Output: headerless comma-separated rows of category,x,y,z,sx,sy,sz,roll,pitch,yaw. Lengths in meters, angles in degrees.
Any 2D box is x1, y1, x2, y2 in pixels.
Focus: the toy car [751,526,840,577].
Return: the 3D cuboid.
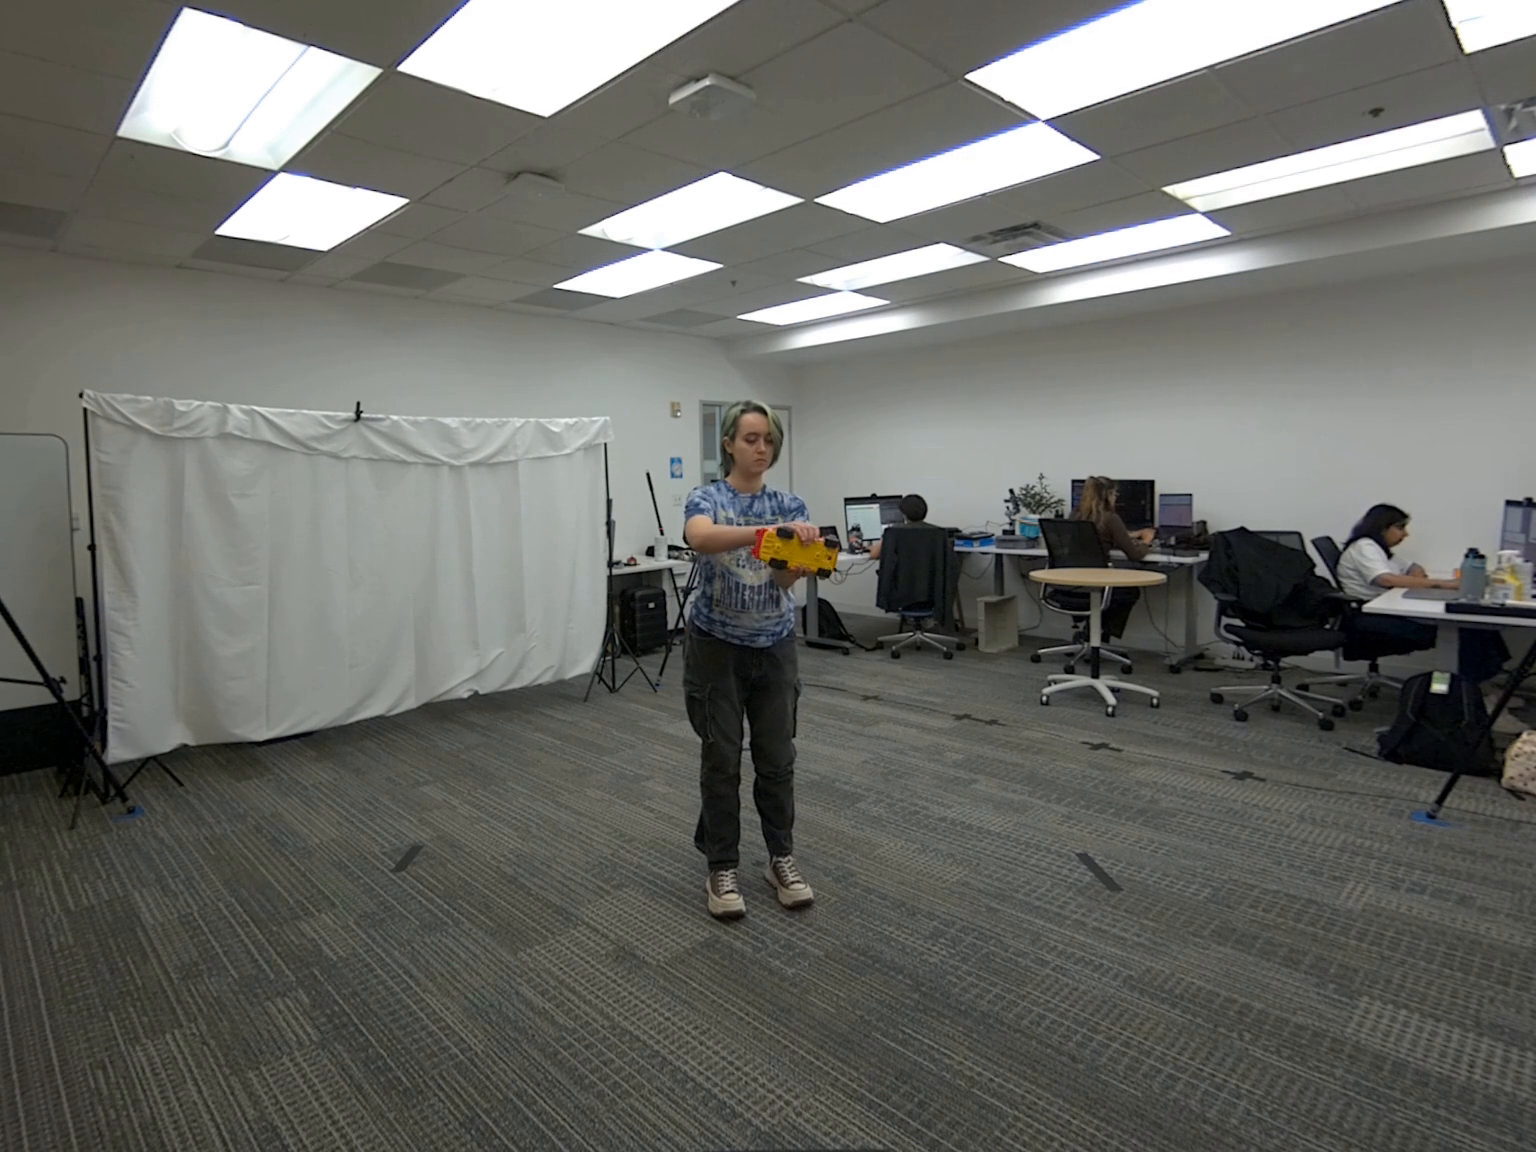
toy car,0.075,-0.068,2.391,0.252,0.130,0.084,10,4,-10
